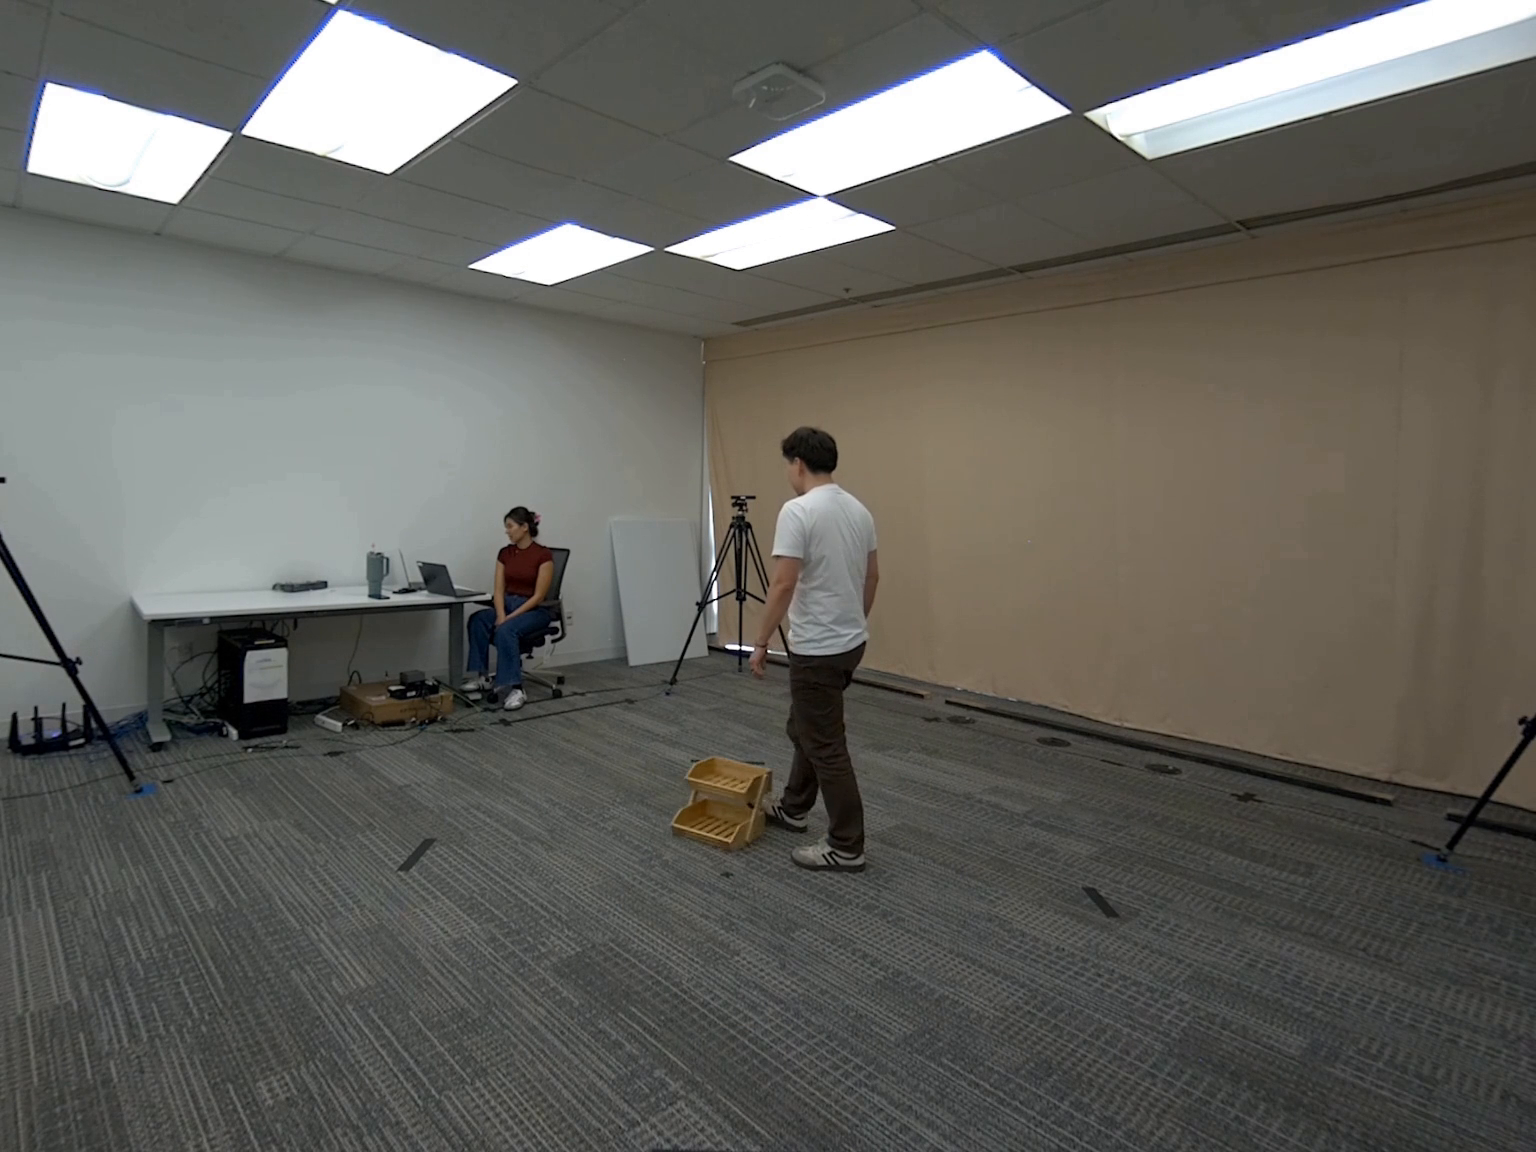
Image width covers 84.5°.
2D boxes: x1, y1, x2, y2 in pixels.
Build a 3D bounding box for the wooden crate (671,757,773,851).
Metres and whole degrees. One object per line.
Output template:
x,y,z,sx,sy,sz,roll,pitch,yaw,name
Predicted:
-0.183,0.932,3.489,0.332,0.273,0.296,4,4,33,wooden crate
